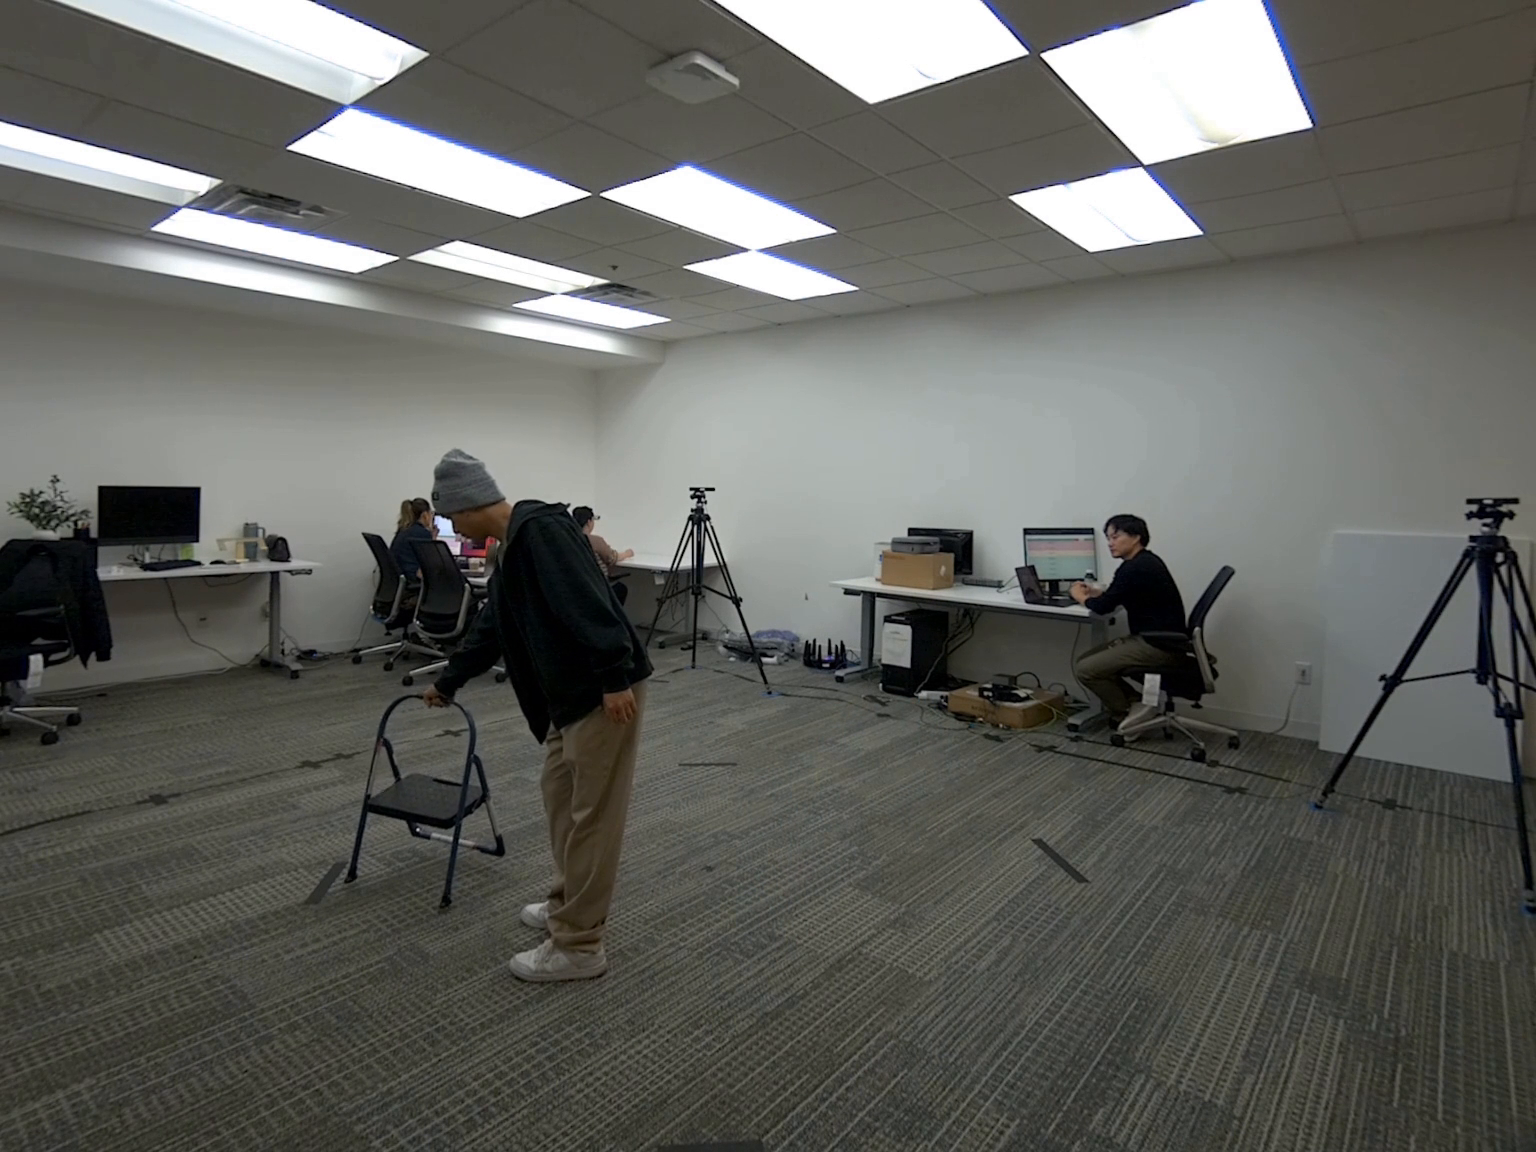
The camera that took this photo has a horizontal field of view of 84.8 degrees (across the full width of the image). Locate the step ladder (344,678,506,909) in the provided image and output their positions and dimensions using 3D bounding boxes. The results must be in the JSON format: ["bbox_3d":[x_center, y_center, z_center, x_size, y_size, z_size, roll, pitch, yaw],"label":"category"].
[{"bbox_3d":[-1.206,0.730,2.940,0.440,0.600,0.345,4,11,19],"label":"step ladder"}]
